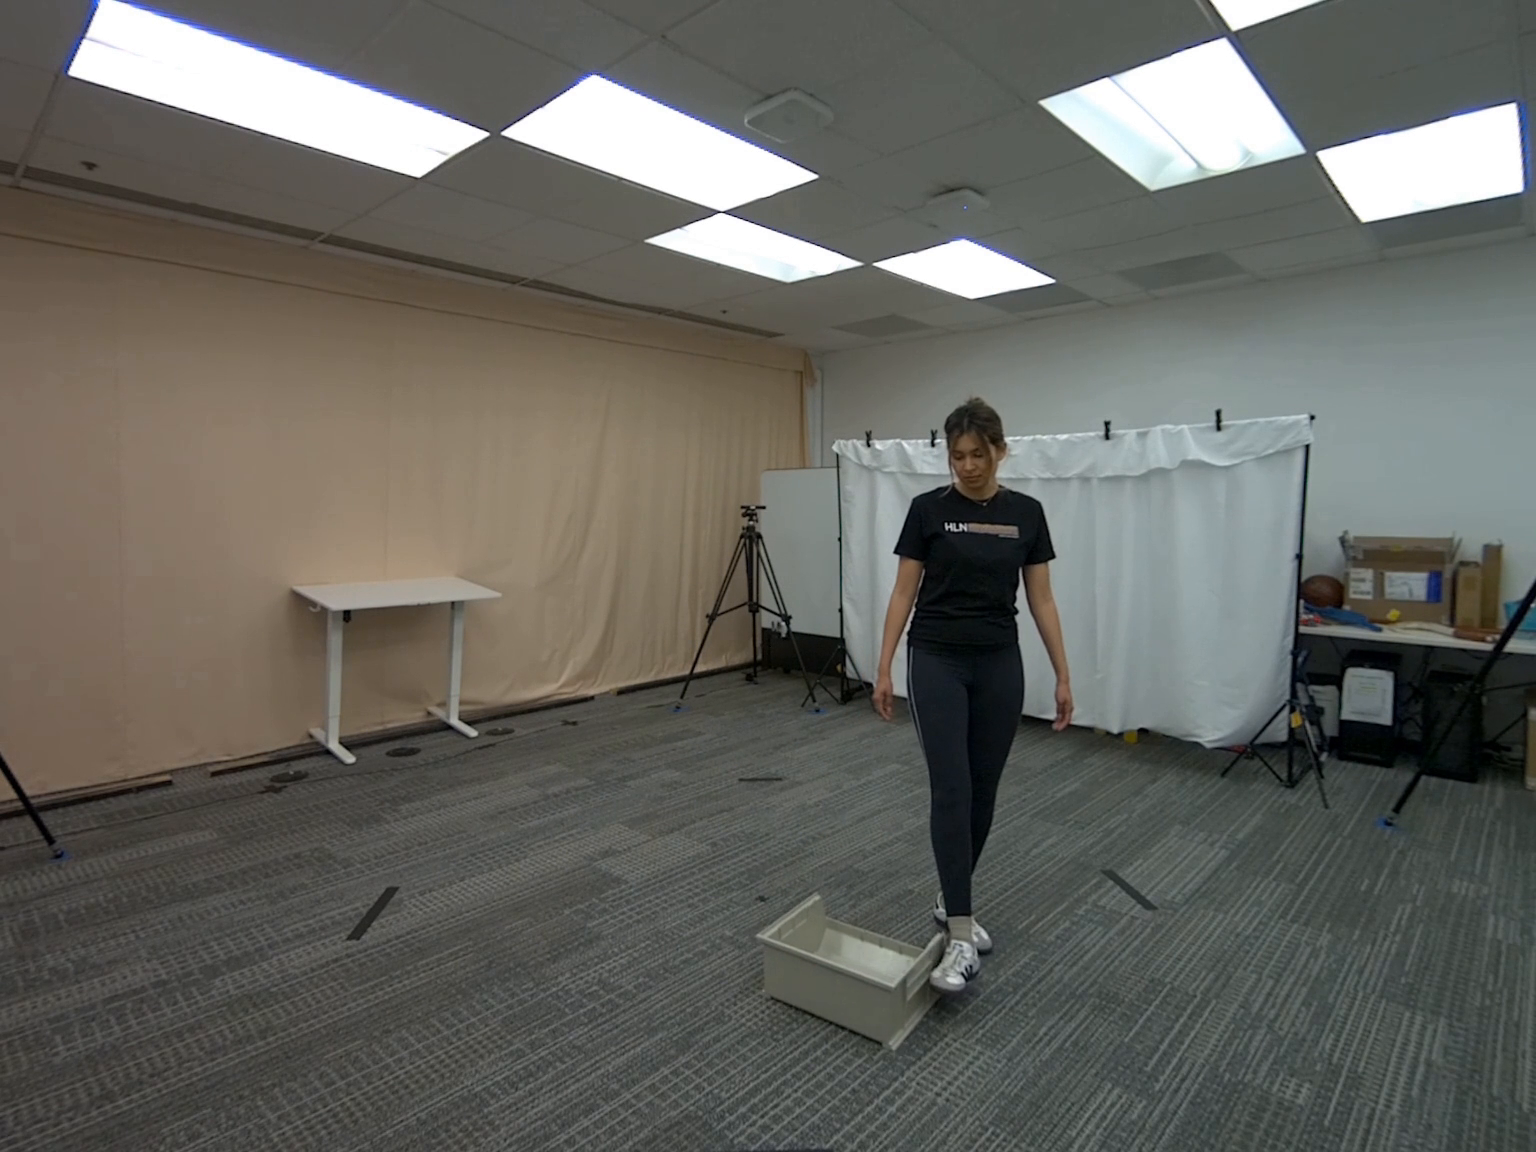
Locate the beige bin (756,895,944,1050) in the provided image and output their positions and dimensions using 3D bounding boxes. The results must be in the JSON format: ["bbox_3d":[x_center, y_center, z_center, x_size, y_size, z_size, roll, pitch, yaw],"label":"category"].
[{"bbox_3d":[0.249,1.102,2.403,0.436,0.188,0.367,4,7,36],"label":"beige bin"}]
